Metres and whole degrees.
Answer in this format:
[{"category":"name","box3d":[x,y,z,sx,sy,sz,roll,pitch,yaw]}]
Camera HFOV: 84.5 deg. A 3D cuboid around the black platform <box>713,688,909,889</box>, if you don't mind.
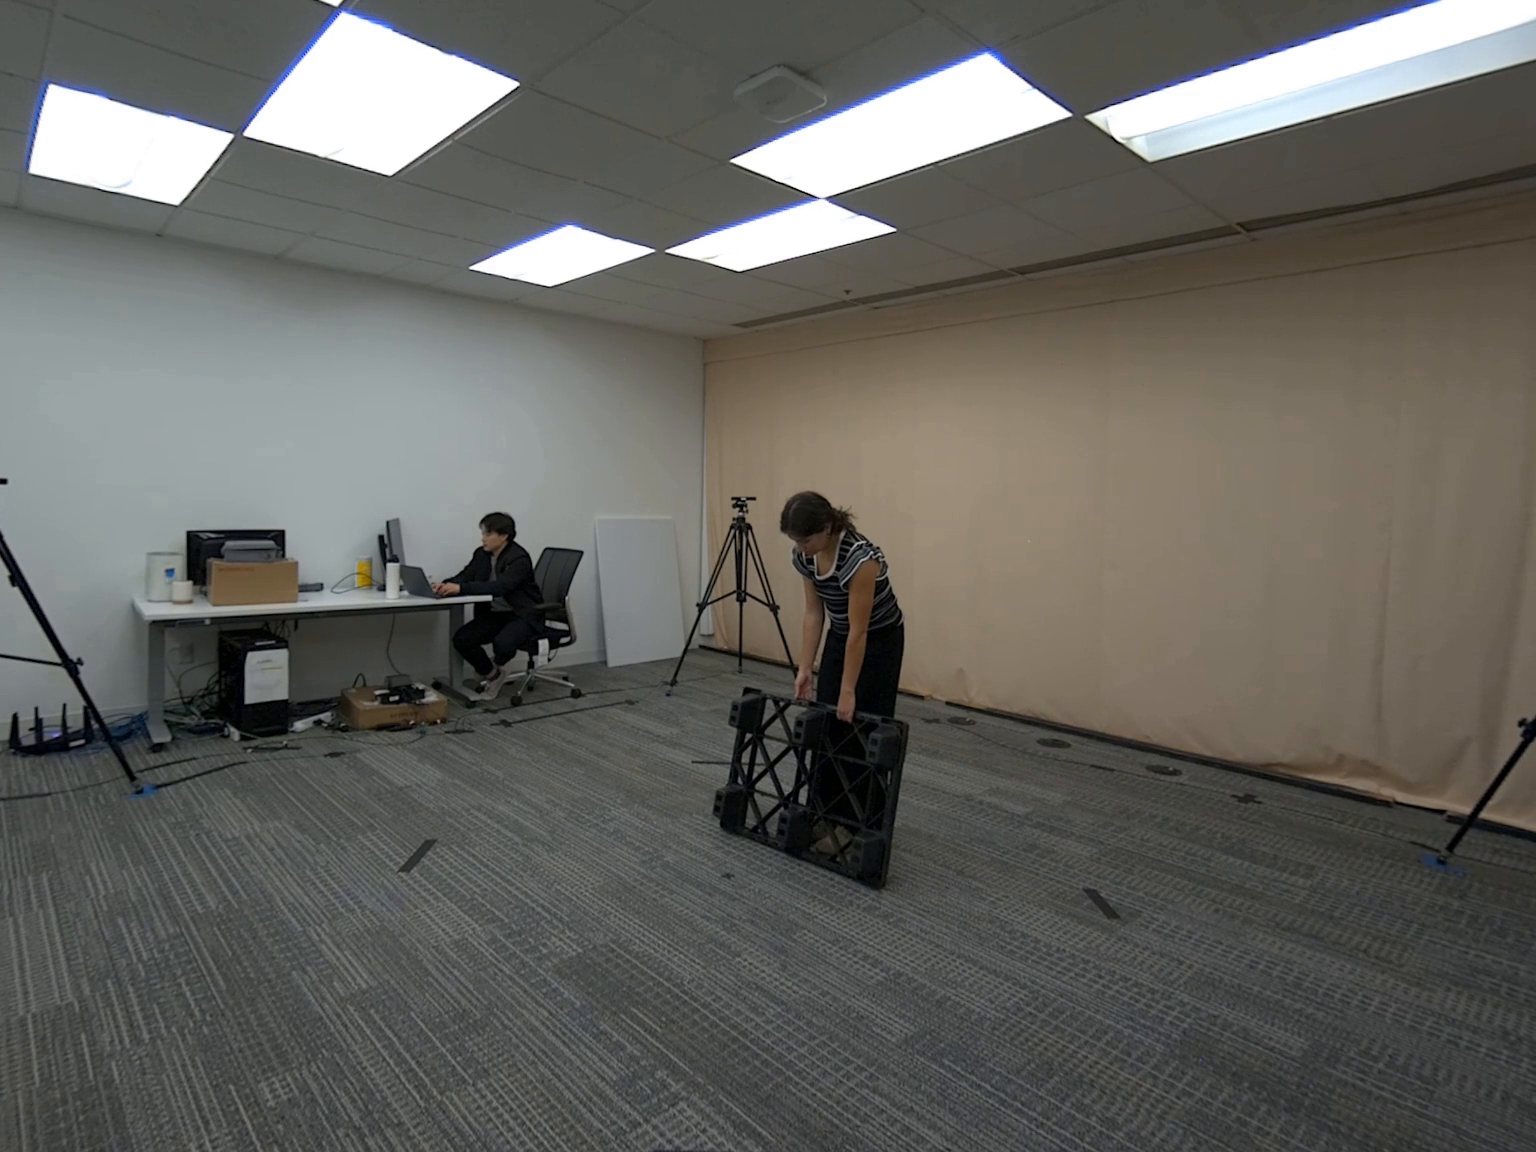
[{"category":"black platform","box3d":[0.121,0.785,3.280,0.826,0.607,0.139,5,-8,41]}]
